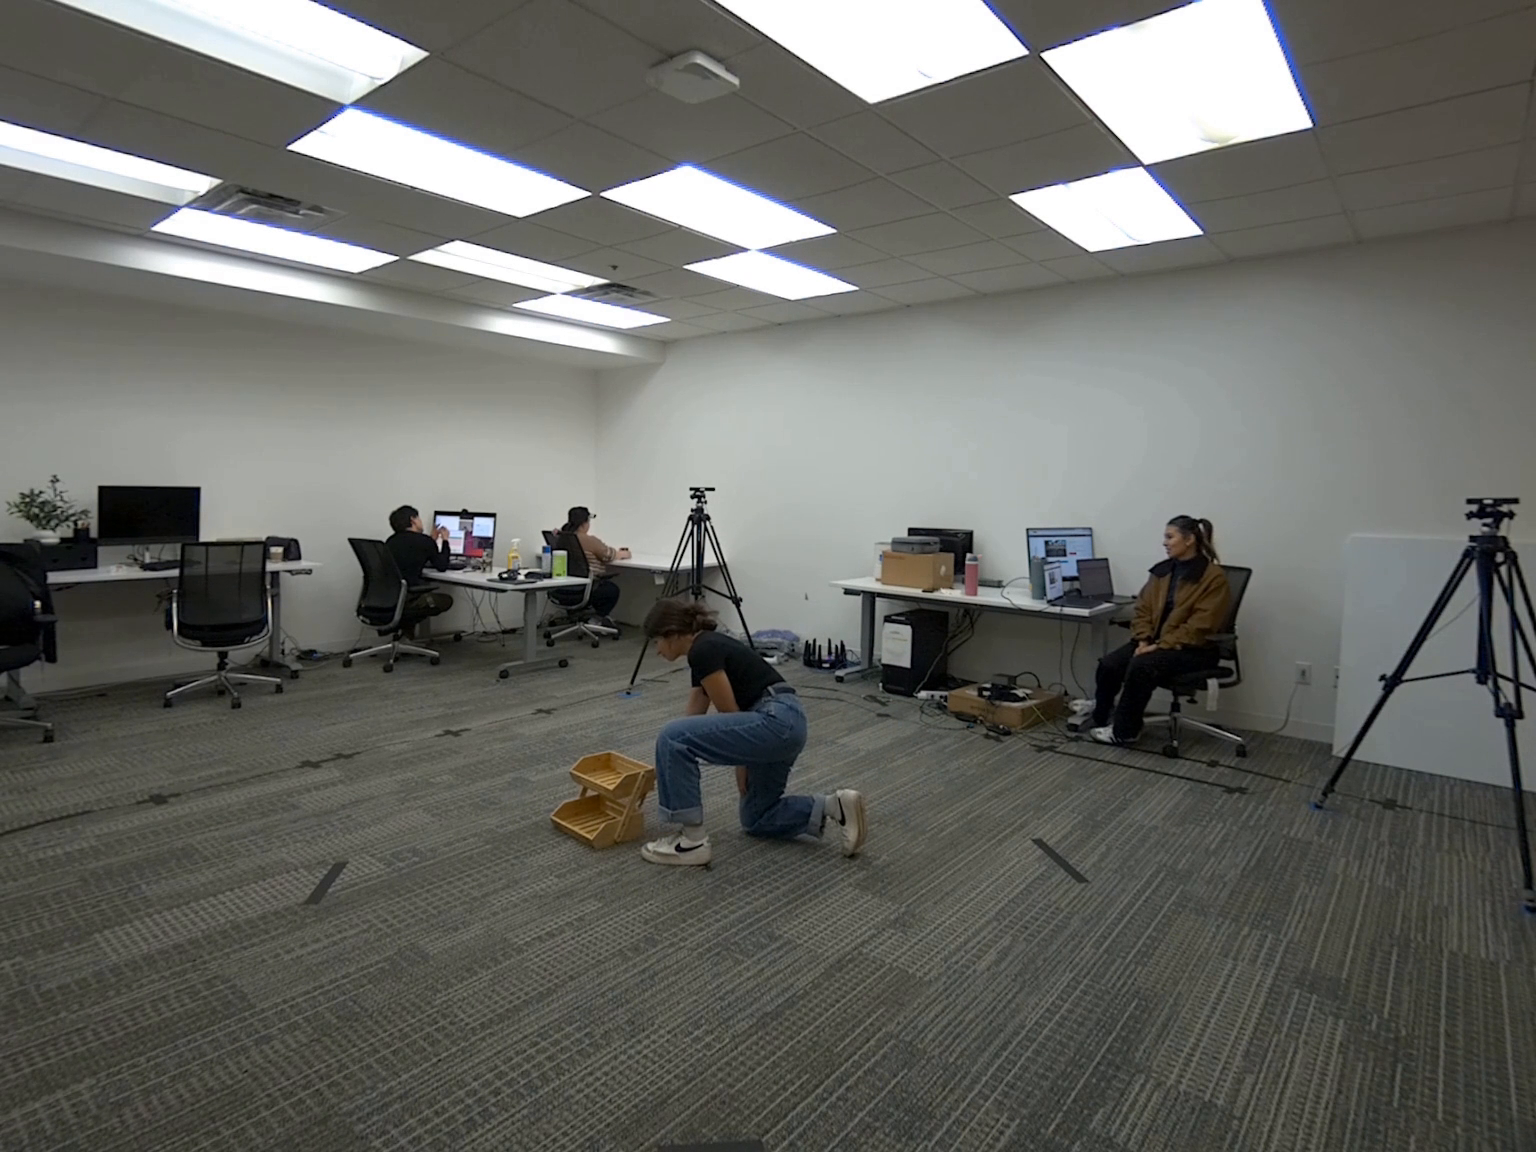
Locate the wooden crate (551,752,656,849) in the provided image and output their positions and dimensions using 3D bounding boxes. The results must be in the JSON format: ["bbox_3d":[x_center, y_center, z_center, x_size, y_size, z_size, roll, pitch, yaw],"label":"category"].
[{"bbox_3d":[-0.685,0.895,3.452,0.336,0.272,0.293,6,6,44],"label":"wooden crate"}]
